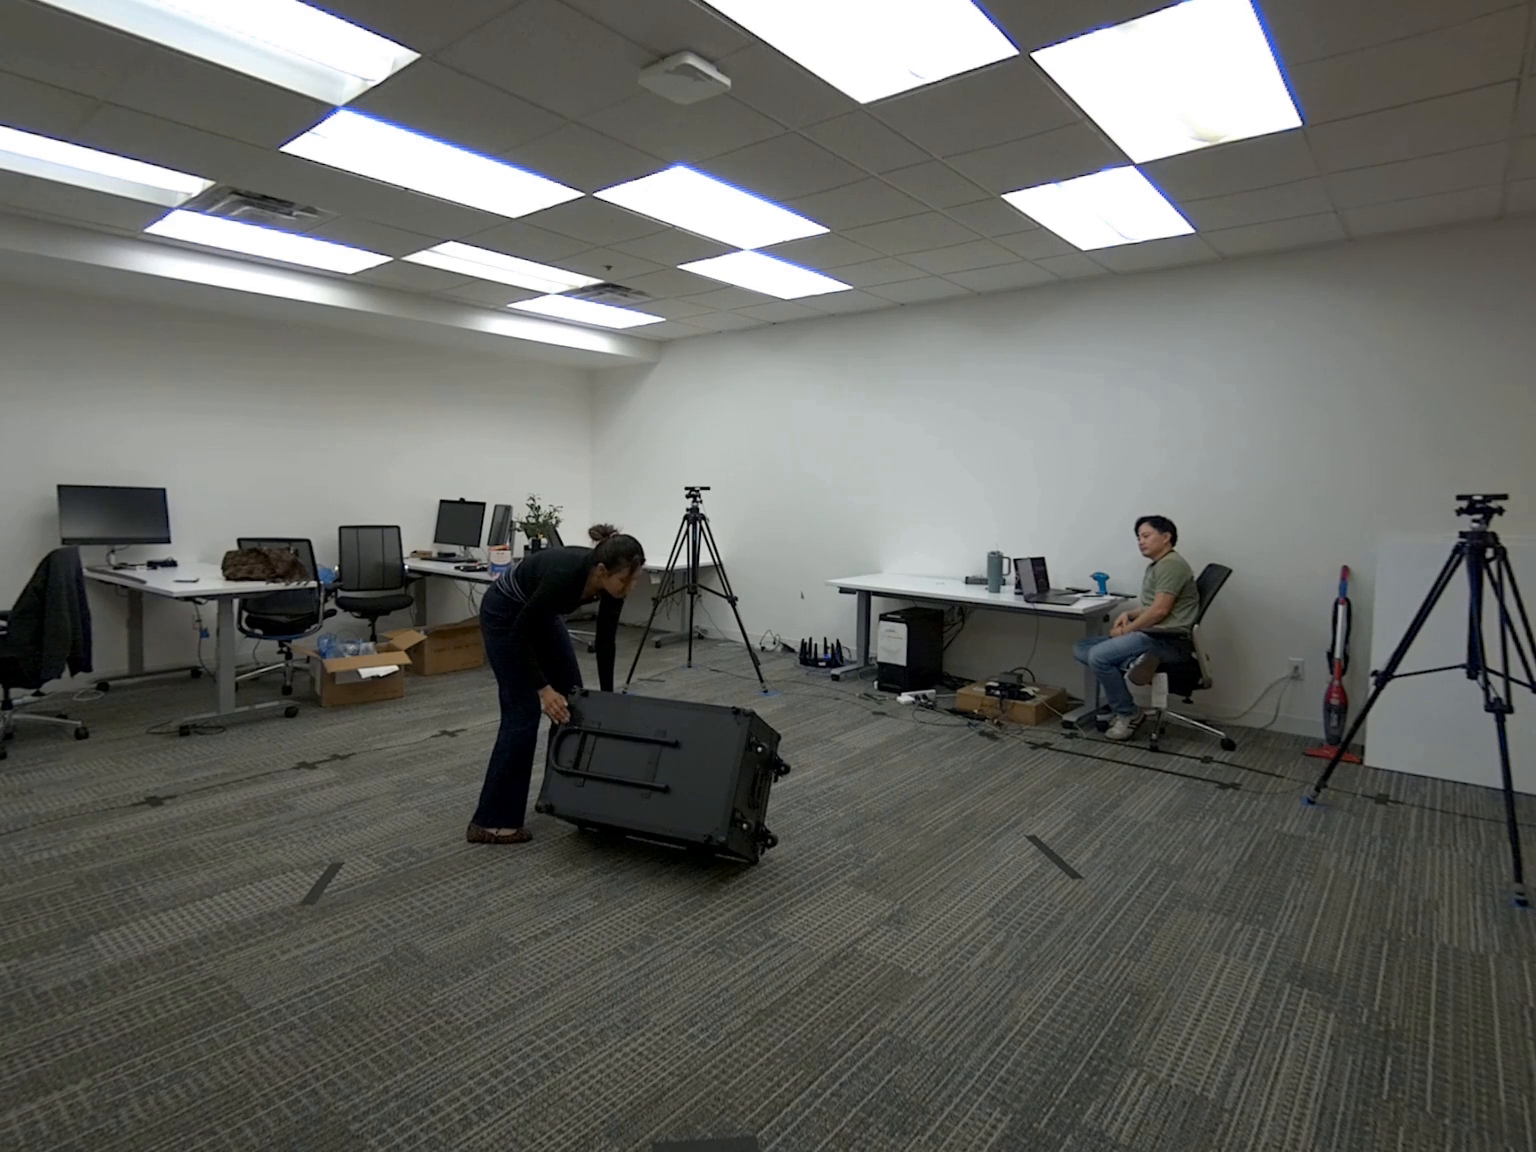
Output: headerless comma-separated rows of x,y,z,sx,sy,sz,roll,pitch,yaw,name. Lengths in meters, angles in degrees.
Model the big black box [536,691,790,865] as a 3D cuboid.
-0.388,0.747,3.237,0.882,0.529,0.381,2,-25,23,big black box
